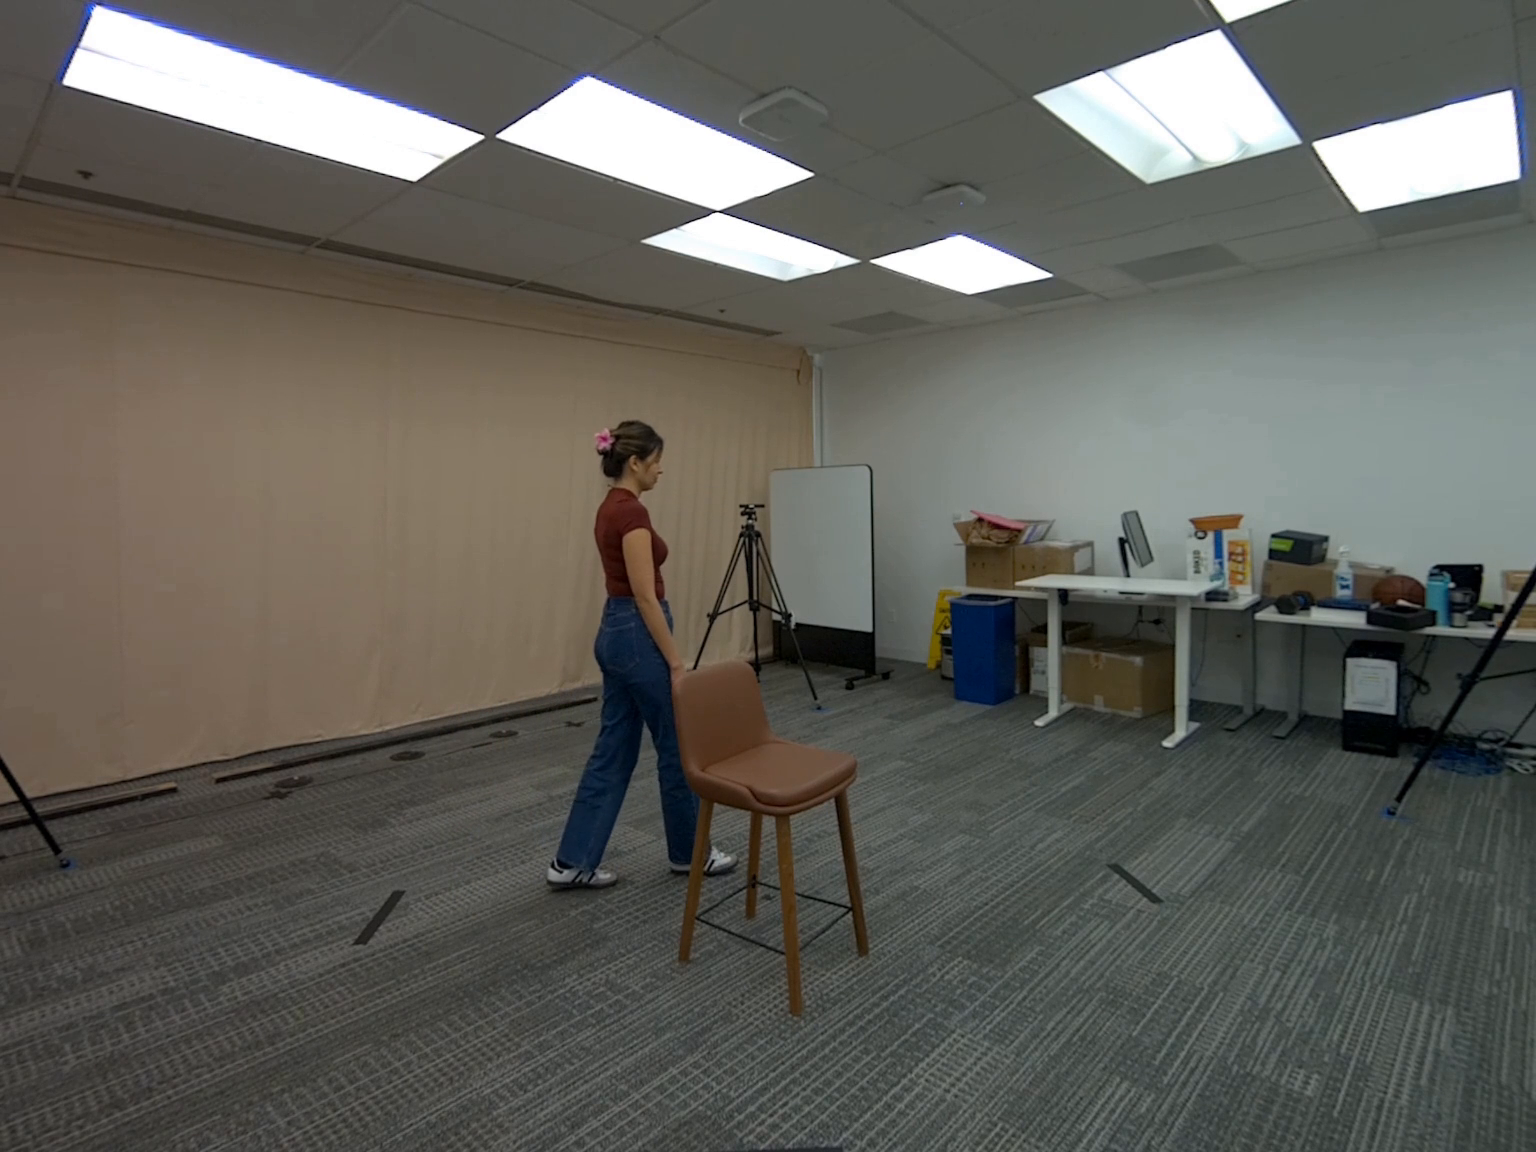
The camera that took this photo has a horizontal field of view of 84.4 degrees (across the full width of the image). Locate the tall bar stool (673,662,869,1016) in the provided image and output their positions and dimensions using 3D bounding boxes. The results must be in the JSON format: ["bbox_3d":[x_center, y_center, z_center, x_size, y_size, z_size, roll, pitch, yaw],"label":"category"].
[{"bbox_3d":[0.006,0.742,2.560,0.482,0.888,0.443,-1,3,37],"label":"tall bar stool"}]
